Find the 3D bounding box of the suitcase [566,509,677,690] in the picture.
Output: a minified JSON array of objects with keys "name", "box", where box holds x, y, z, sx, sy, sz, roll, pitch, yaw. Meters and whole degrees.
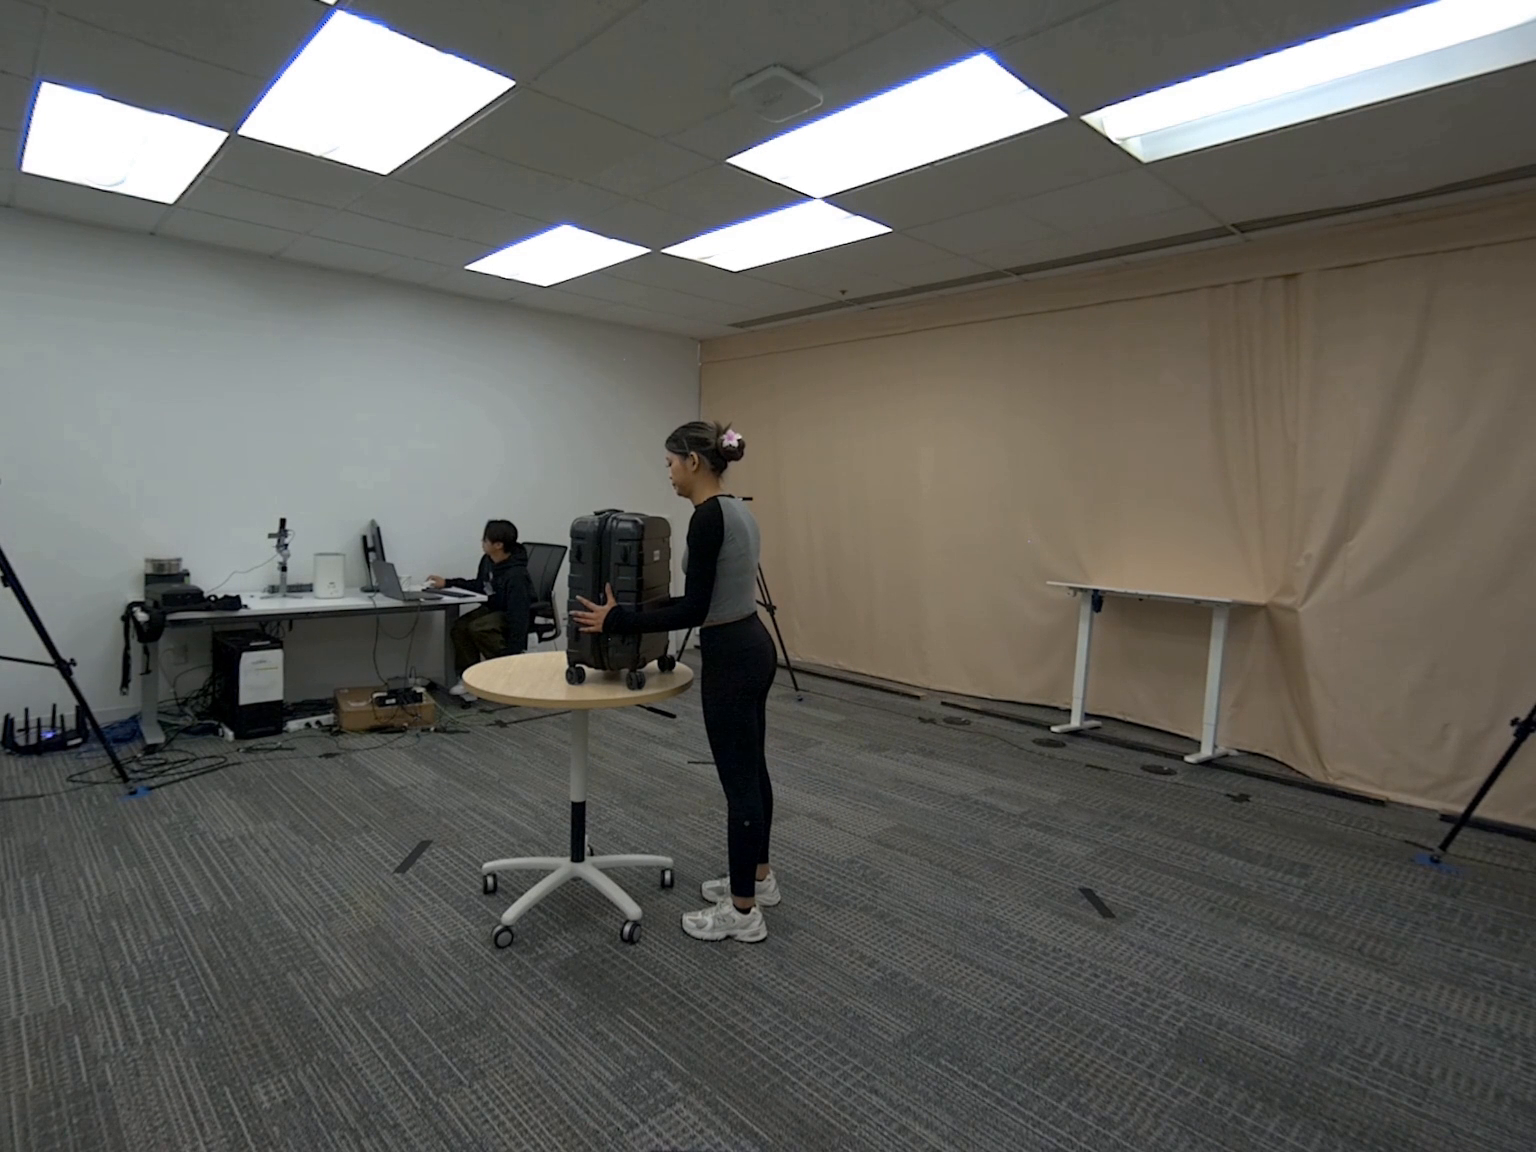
[{"name":"suitcase","box":[-0.486,0.057,2.796,0.251,0.548,0.372,1,3,12]}]
